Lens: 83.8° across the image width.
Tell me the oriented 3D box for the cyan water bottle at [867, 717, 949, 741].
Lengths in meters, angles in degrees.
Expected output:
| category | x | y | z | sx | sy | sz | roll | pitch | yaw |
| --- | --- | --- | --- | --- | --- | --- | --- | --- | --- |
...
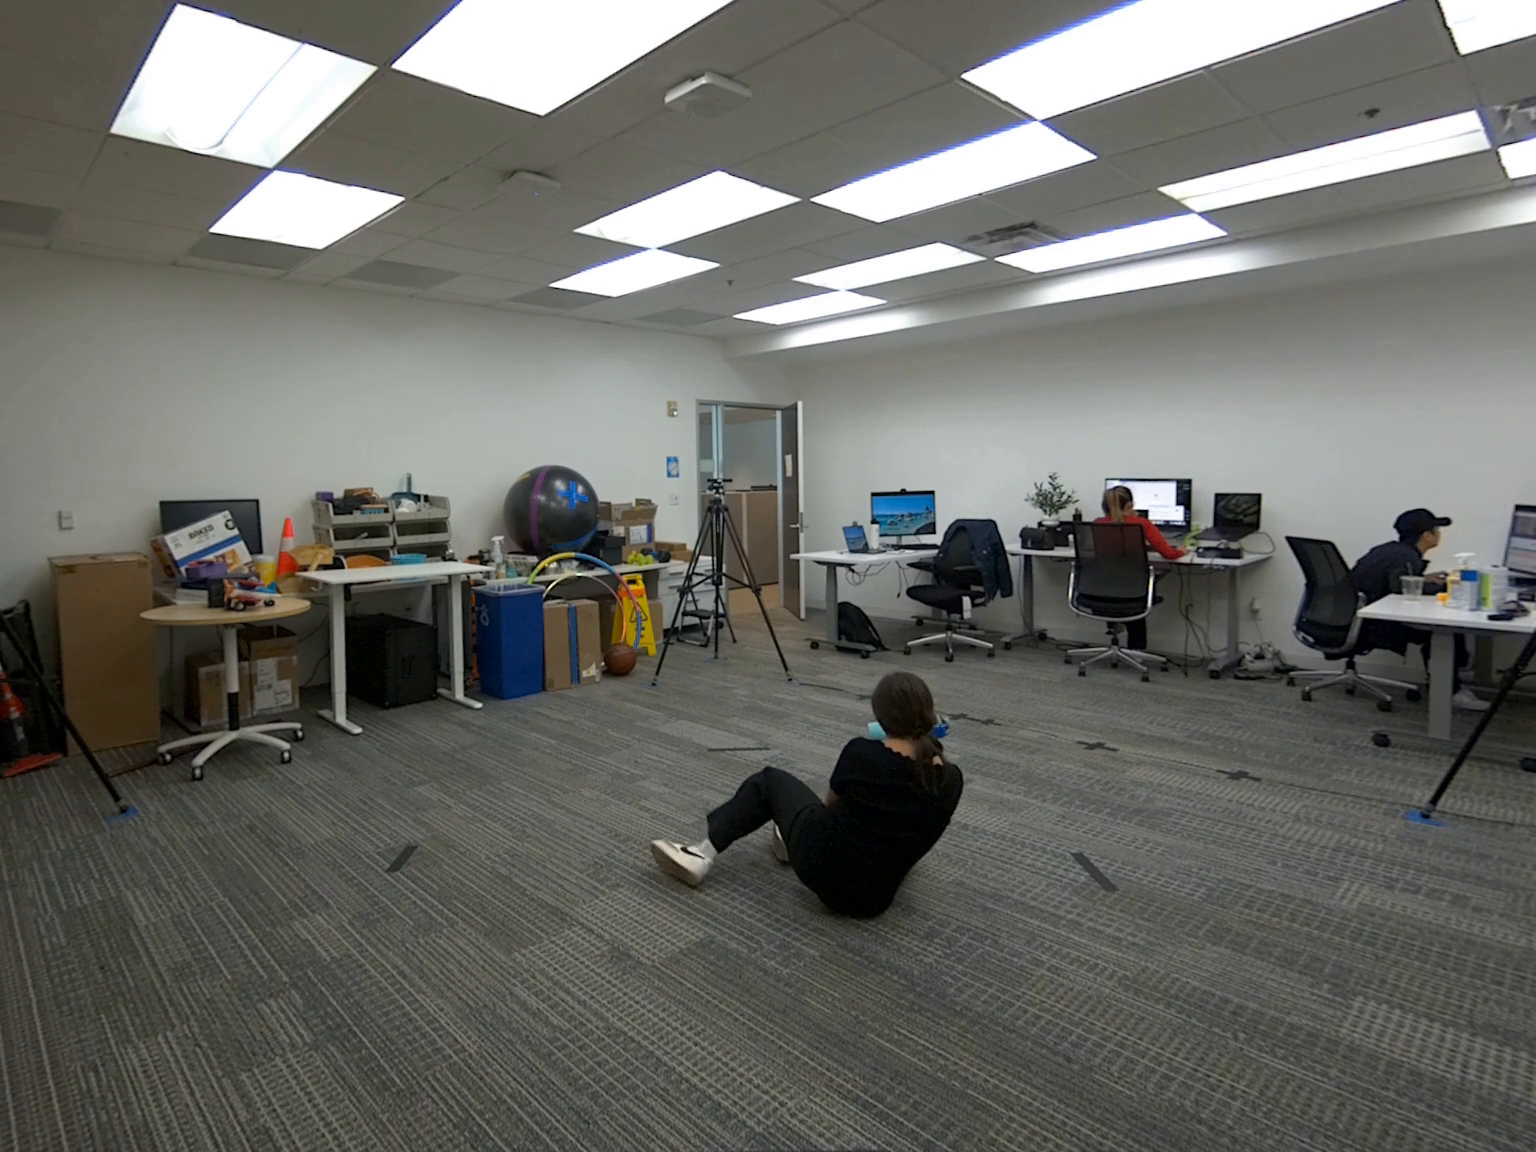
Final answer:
| category | x | y | z | sx | sy | sz | roll | pitch | yaw |
| --- | --- | --- | --- | --- | --- | --- | --- | --- | --- |
| cyan water bottle | 0.515 | 0.554 | 3.070 | 0.285 | 0.092 | 0.092 | -9 | 4 | 9 |
